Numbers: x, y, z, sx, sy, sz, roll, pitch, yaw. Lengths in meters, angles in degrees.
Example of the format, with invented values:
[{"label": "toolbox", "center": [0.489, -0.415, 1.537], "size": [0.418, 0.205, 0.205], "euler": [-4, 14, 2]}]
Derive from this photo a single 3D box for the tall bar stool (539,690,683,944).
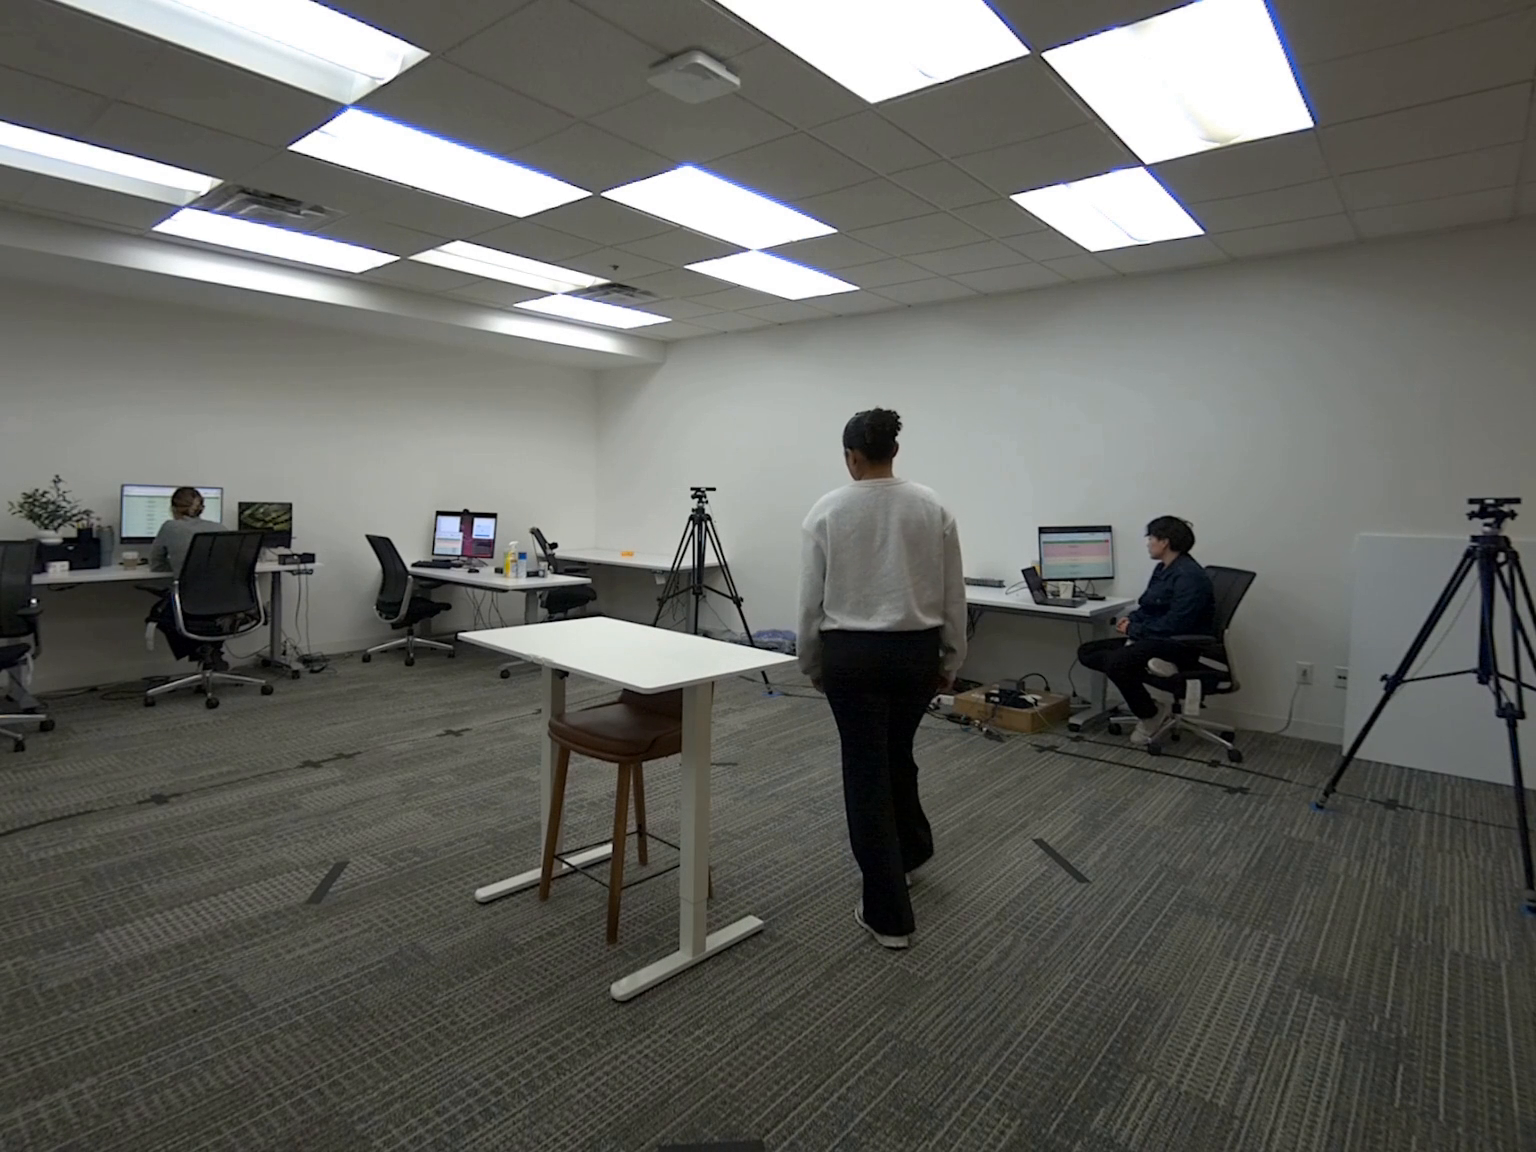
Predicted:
[{"label": "tall bar stool", "center": [-0.469, 0.658, 2.856], "size": [0.472, 0.889, 0.453], "euler": [3, 2, 43]}]
